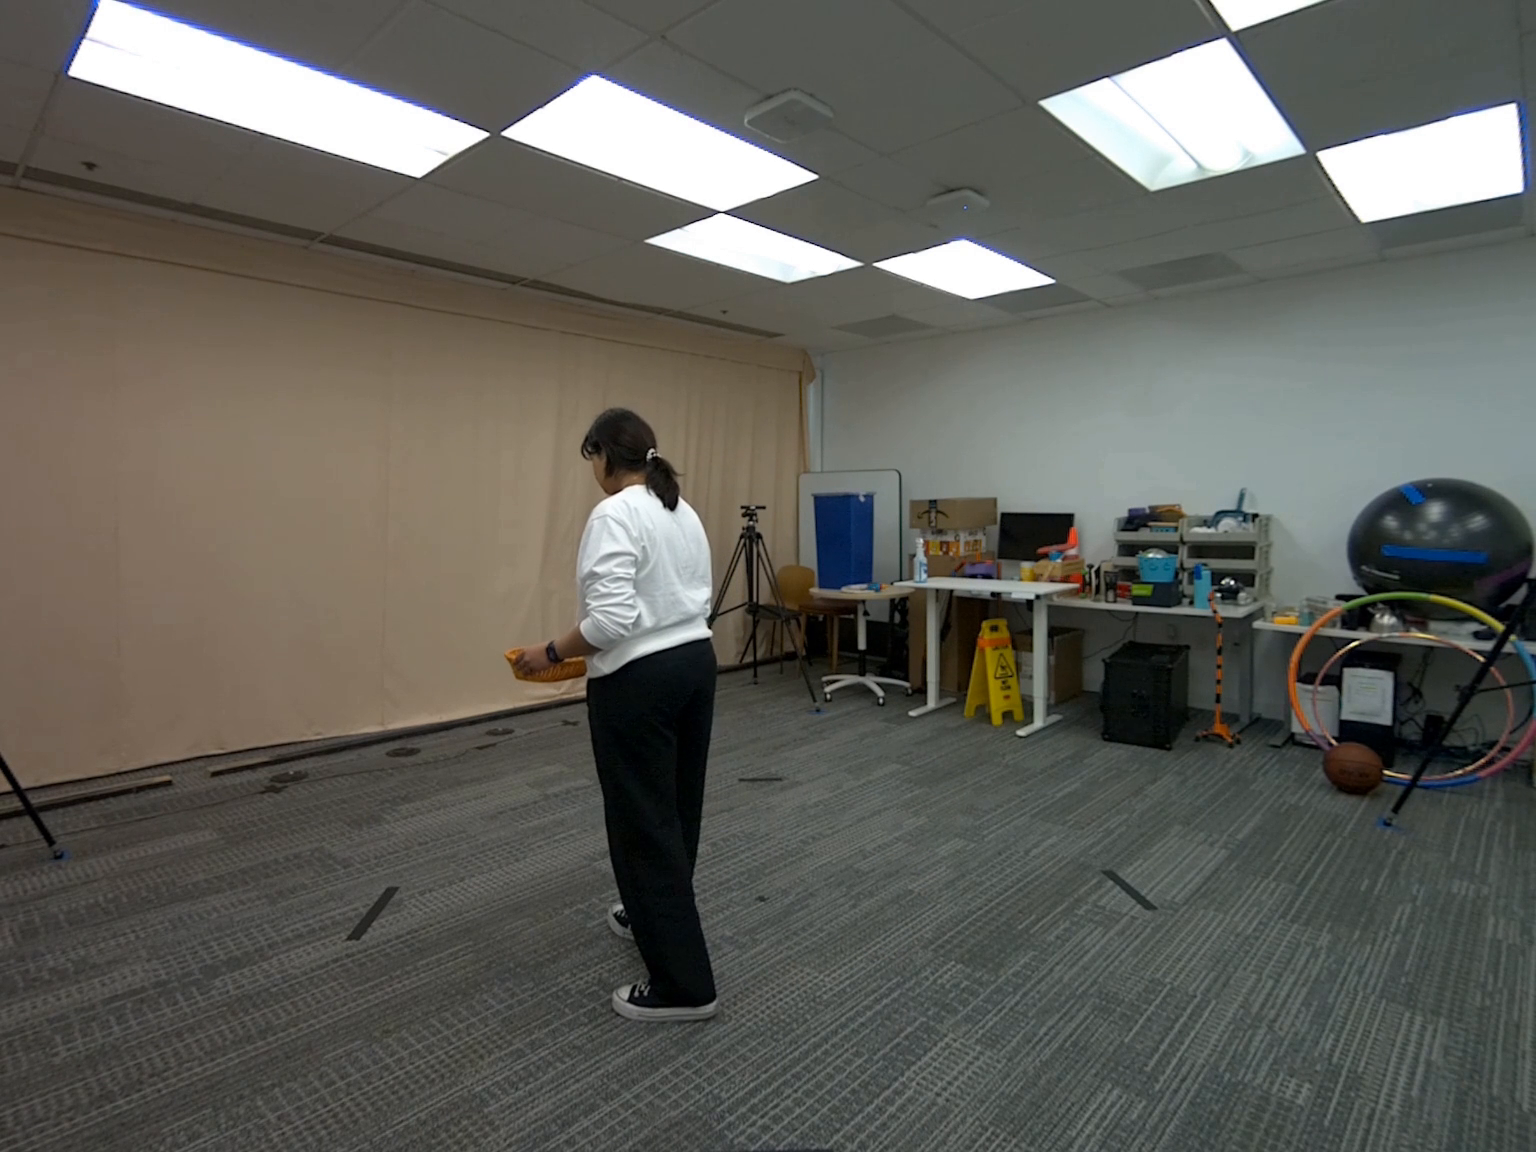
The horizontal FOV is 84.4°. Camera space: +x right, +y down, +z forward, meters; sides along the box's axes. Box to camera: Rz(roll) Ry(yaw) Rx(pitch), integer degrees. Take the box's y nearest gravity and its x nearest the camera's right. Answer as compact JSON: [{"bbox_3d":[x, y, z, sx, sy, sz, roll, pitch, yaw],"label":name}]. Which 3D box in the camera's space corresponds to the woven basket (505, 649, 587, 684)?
[{"bbox_3d":[-0.624,0.267,2.532,0.260,0.073,0.340,3,3,31],"label":"woven basket"}]
